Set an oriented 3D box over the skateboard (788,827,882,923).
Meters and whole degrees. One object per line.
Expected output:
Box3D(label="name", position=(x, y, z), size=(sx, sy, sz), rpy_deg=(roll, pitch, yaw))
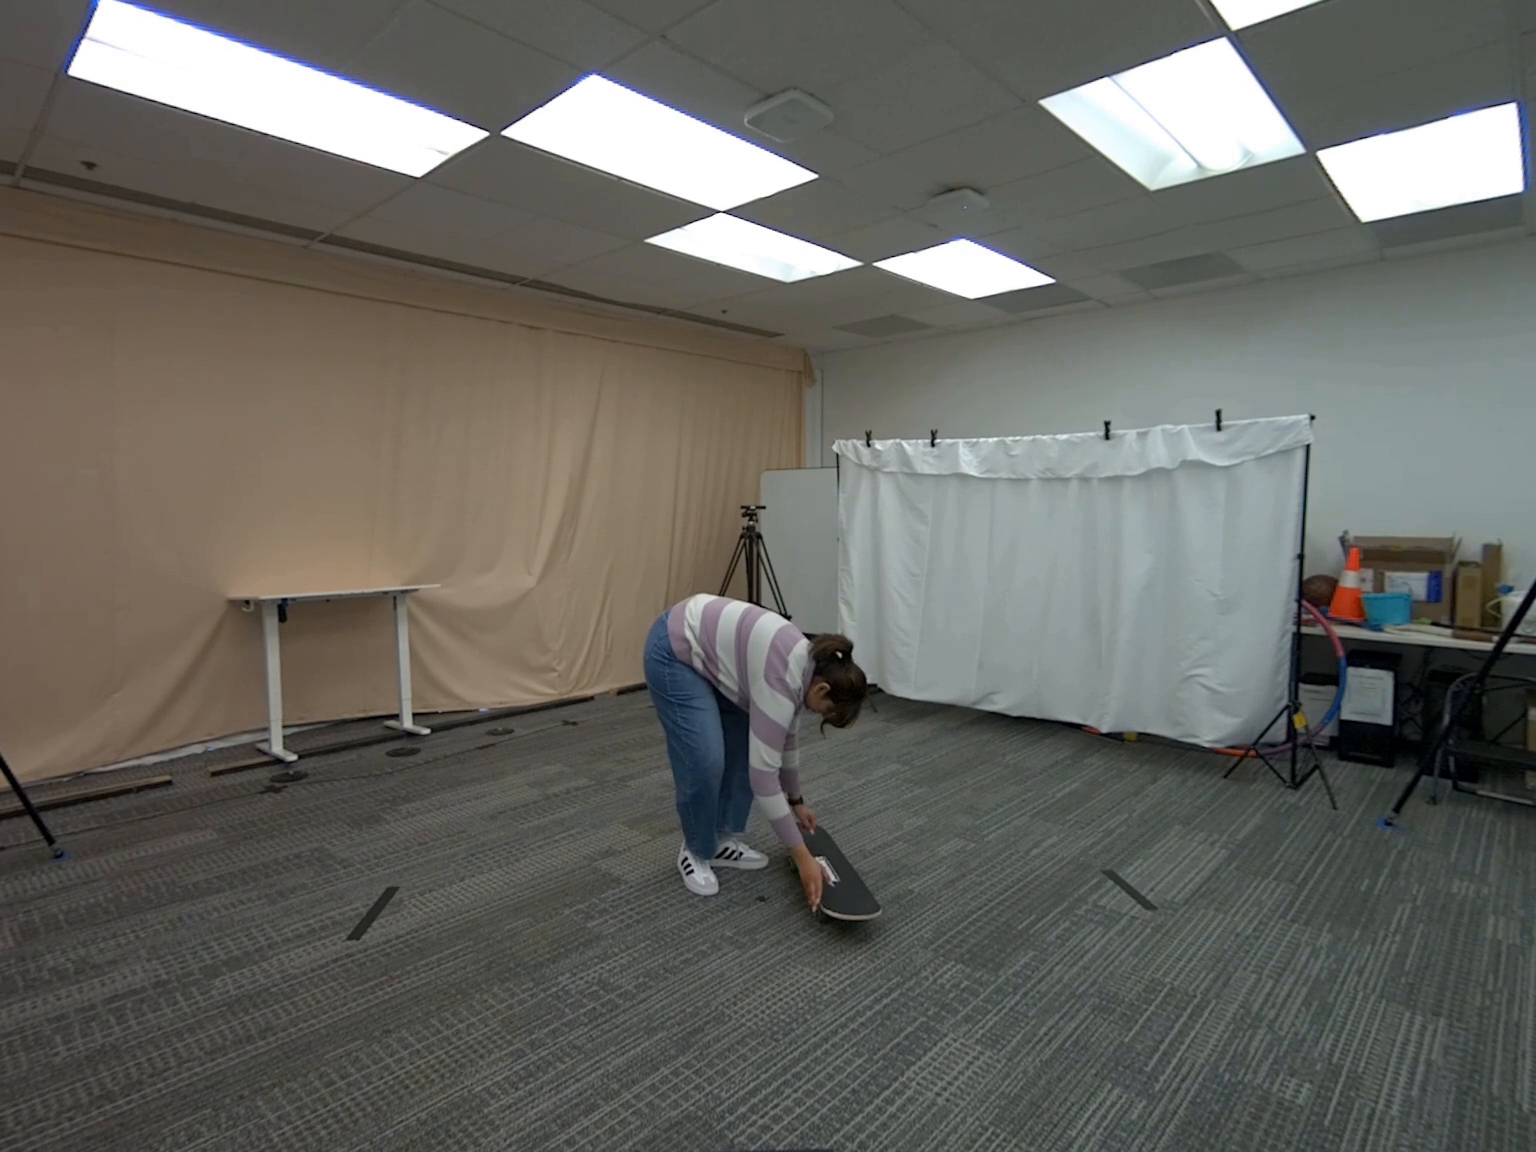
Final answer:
Box3D(label="skateboard", position=(0.216, 1.076, 3.019), size=(0.191, 0.110, 0.796), rpy_deg=(-1, 5, -11))
